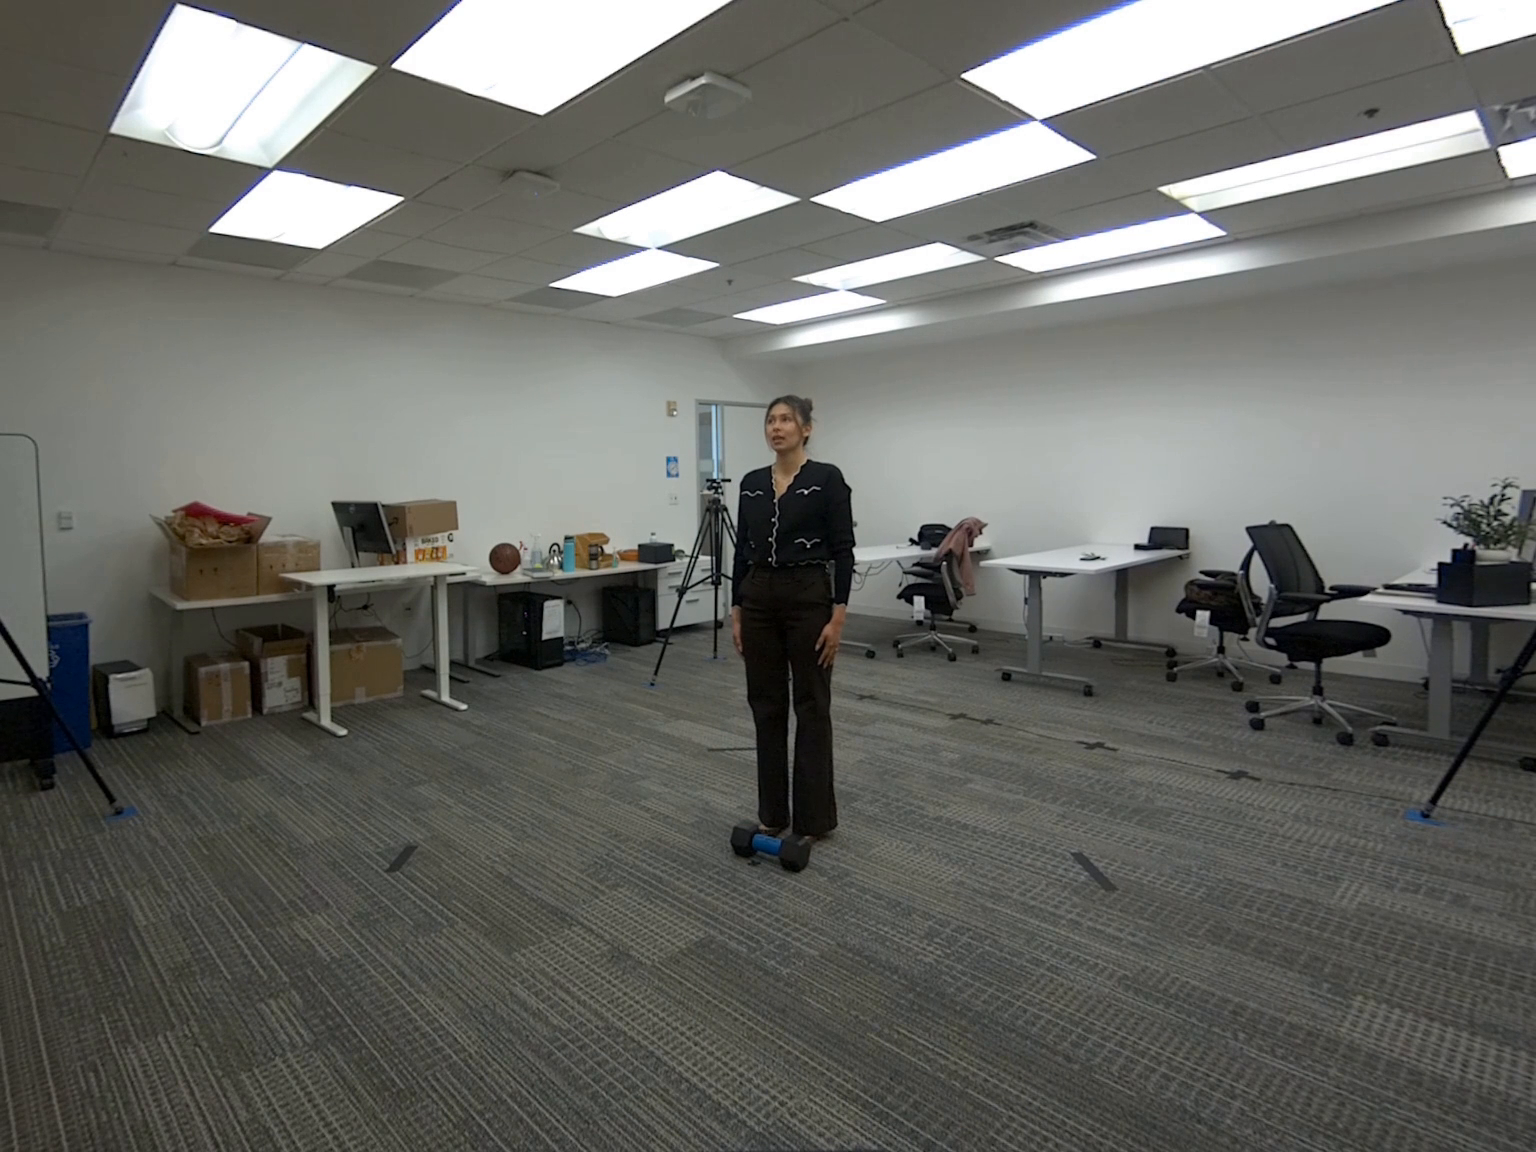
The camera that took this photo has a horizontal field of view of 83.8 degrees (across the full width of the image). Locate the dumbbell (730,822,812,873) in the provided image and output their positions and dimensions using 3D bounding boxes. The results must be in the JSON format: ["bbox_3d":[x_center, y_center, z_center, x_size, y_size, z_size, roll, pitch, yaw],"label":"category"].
[{"bbox_3d":[0.007,0.992,3.128,0.302,0.108,0.120,3,8,35],"label":"dumbbell"}]
